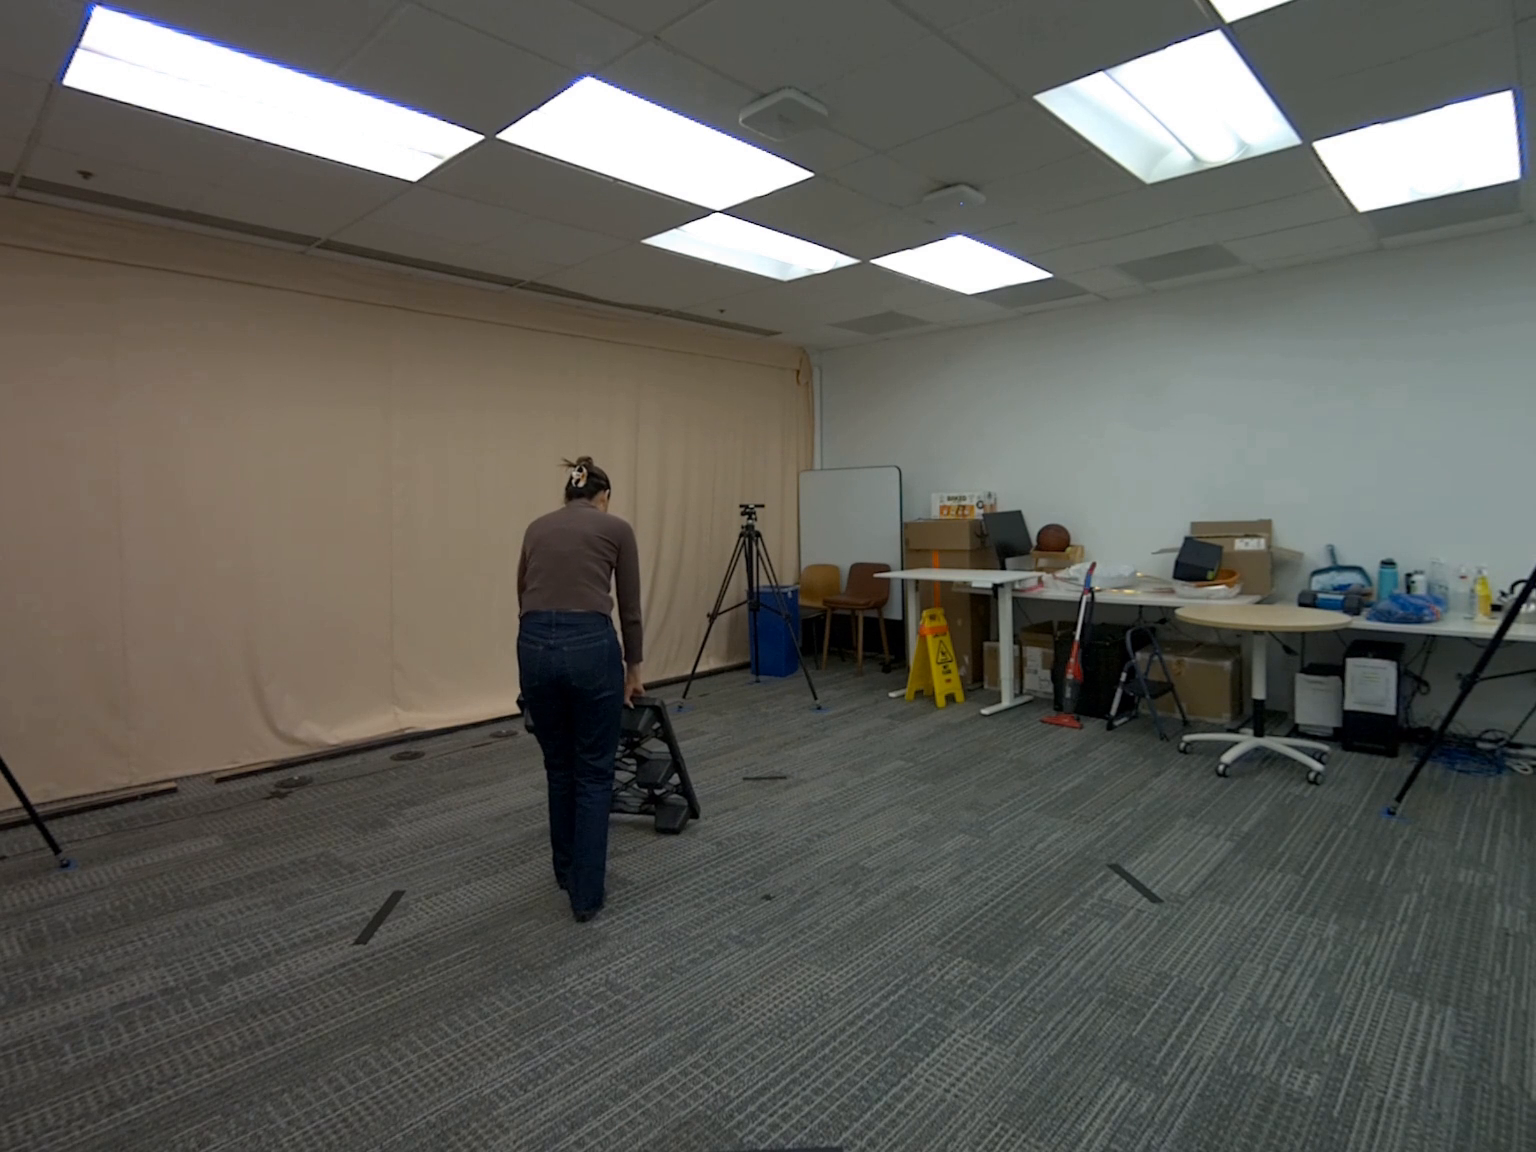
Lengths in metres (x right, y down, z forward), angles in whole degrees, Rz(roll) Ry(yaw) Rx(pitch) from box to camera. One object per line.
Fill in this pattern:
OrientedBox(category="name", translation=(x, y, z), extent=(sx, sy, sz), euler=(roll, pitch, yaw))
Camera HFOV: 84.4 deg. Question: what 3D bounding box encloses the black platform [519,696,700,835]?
OrientedBox(category="black platform", translation=(-0.651, 0.785, 3.442), extent=(0.614, 0.786, 0.145), euler=(1, 42, 13))
